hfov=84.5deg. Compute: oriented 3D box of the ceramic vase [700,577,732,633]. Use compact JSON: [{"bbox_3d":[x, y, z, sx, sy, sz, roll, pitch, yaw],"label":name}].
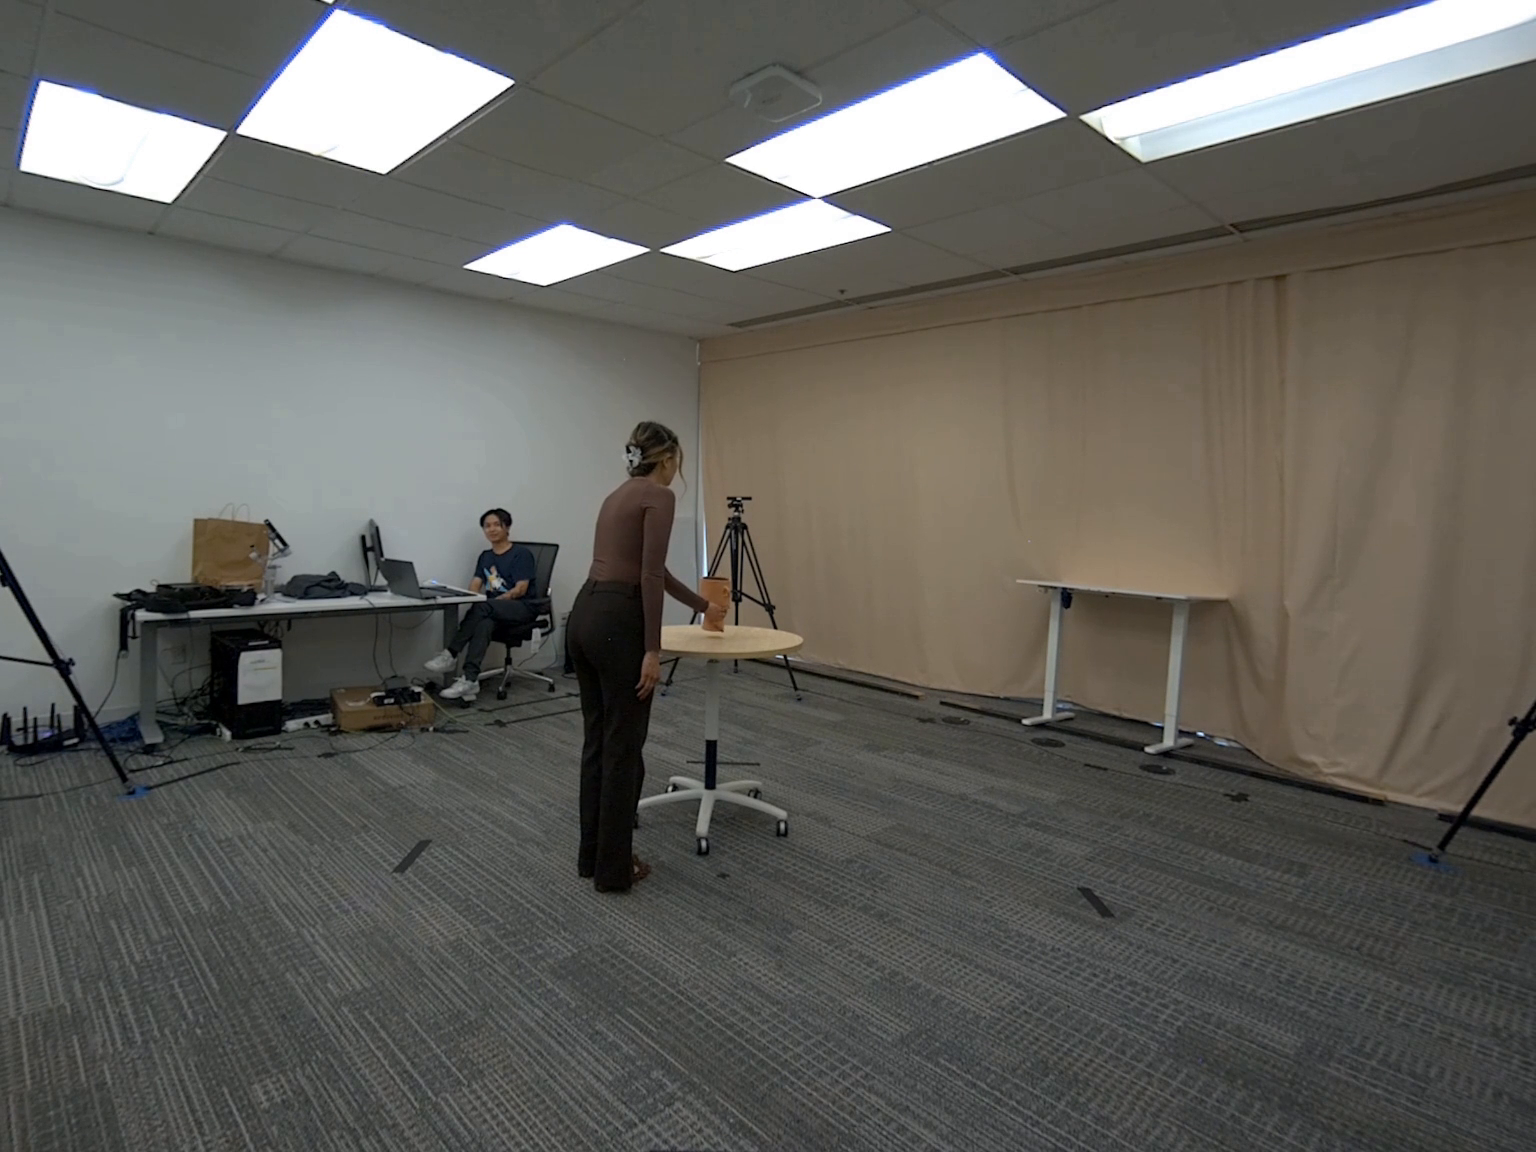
[{"bbox_3d":[-0.260,0.118,3.592,0.134,0.219,0.159,3,6,-2],"label":"ceramic vase"}]
